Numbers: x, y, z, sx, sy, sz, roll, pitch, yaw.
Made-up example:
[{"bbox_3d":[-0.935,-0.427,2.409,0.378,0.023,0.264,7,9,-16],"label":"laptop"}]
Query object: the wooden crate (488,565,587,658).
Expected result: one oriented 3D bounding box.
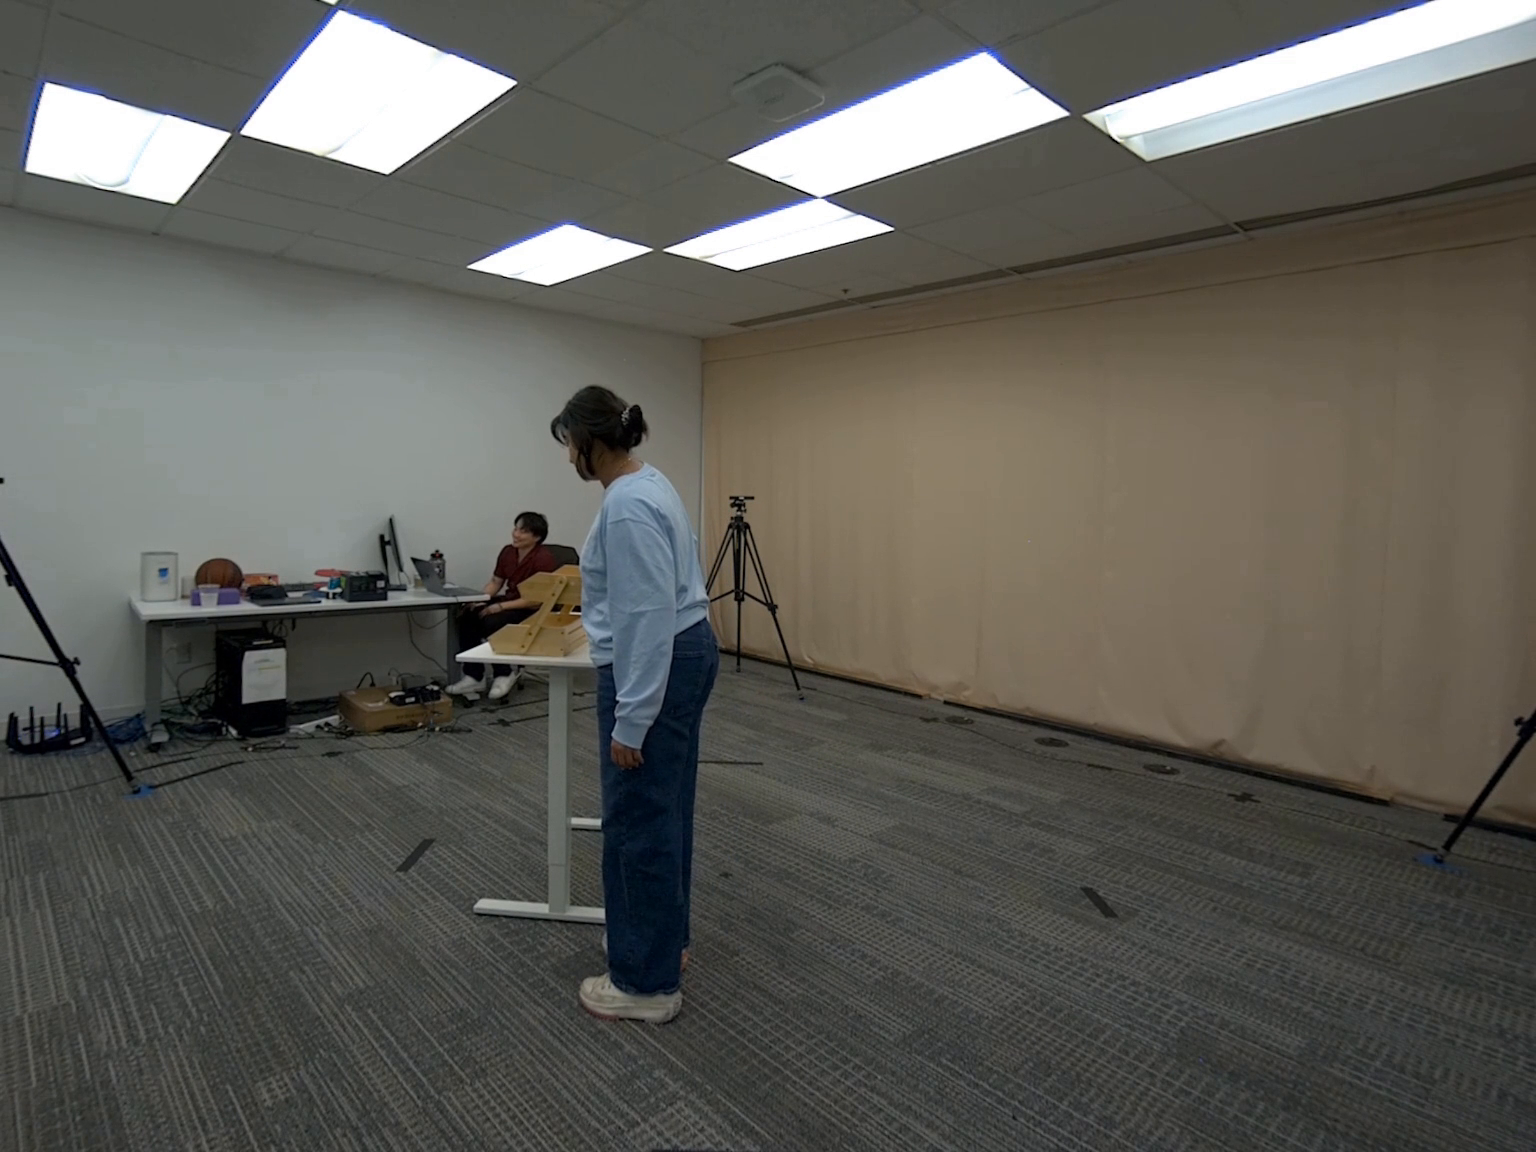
[{"bbox_3d":[-0.729,0.107,2.785,0.302,0.272,0.325,3,4,1],"label":"wooden crate"}]
